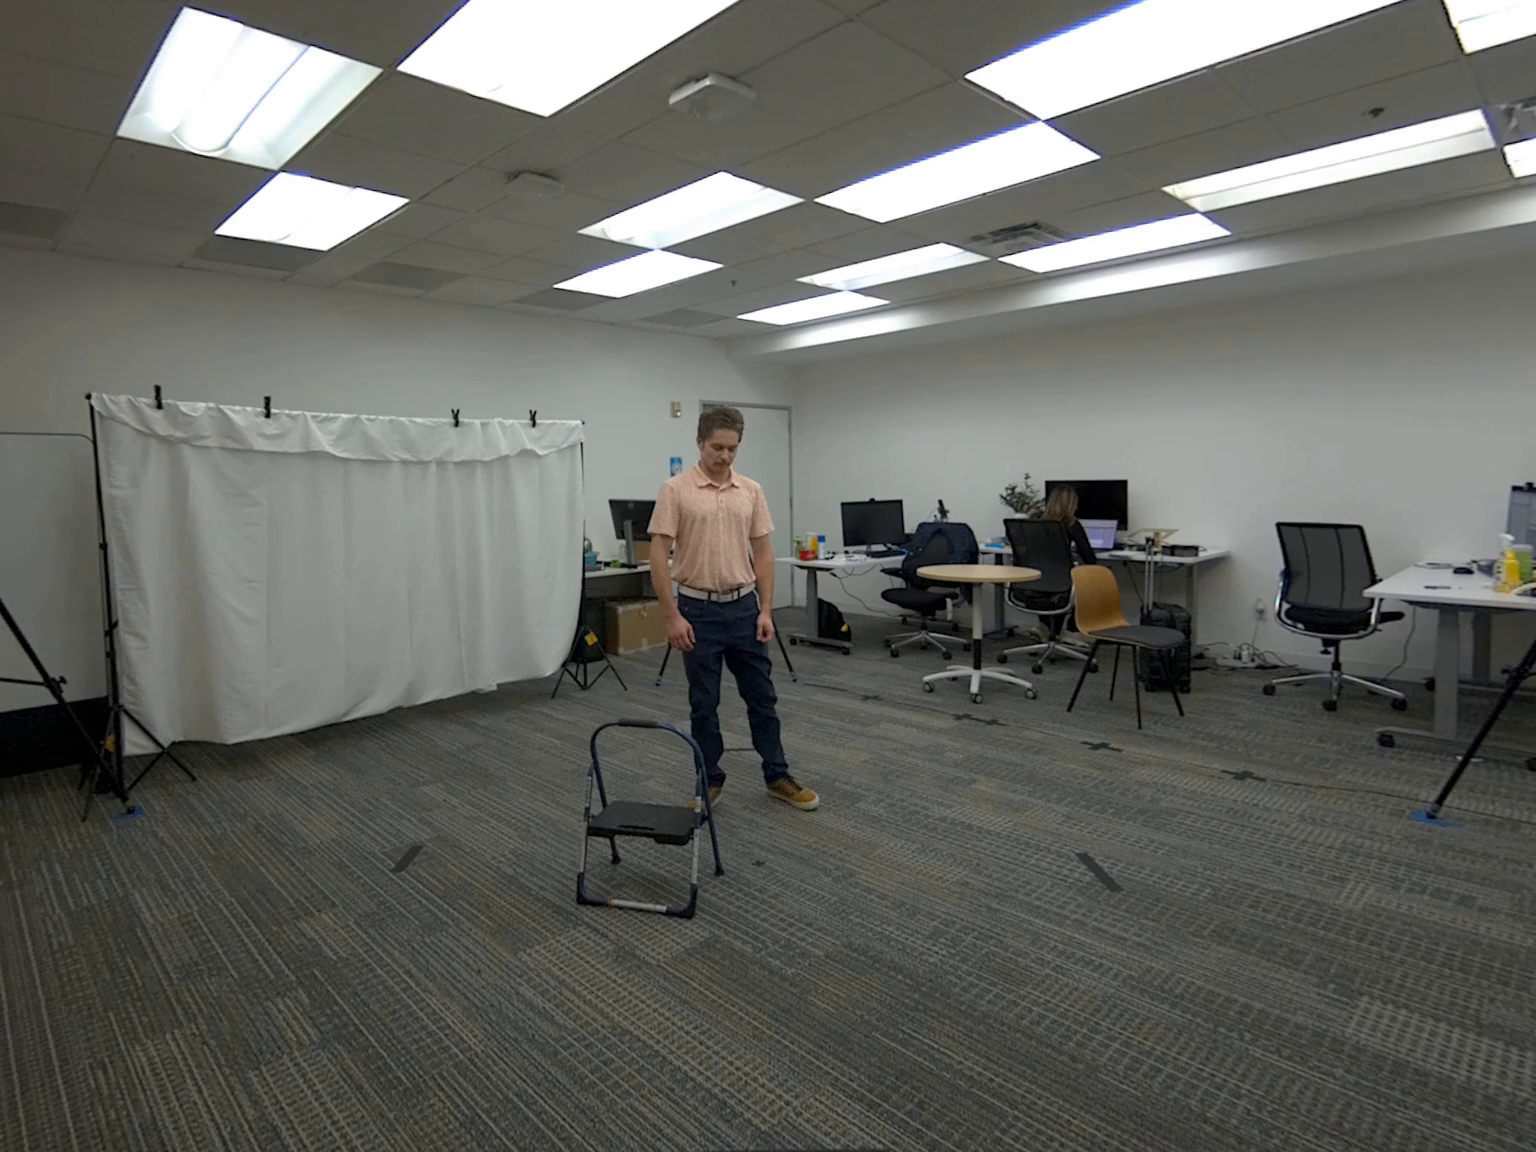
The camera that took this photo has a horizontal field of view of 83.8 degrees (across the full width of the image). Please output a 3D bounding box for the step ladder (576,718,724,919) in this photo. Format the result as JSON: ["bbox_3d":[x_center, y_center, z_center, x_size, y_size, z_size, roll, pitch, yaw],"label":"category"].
[{"bbox_3d":[-0.408,0.775,2.919,0.437,0.603,0.346,0,5,15],"label":"step ladder"}]
